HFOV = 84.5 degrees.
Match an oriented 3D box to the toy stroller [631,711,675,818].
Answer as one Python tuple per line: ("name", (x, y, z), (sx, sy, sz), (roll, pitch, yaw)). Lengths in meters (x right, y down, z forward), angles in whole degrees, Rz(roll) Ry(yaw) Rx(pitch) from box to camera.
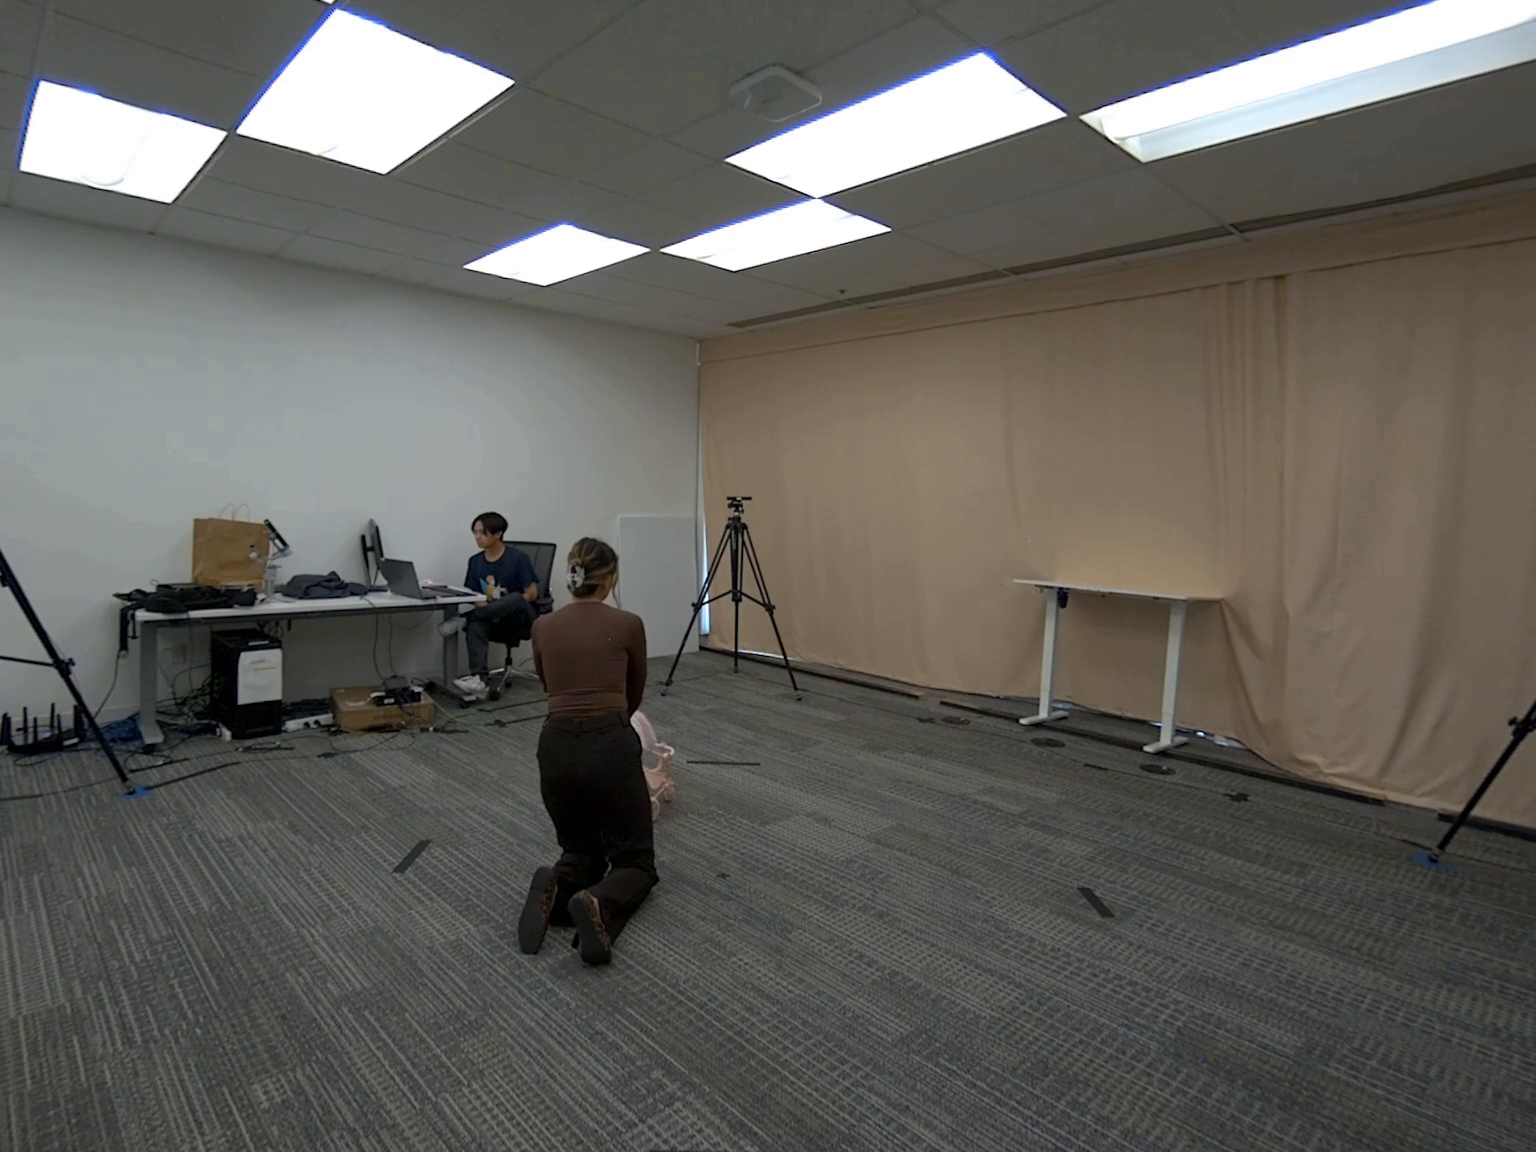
("toy stroller", (-0.576, 0.824, 3.704), (0.288, 0.528, 0.337), (5, 22, 41))
